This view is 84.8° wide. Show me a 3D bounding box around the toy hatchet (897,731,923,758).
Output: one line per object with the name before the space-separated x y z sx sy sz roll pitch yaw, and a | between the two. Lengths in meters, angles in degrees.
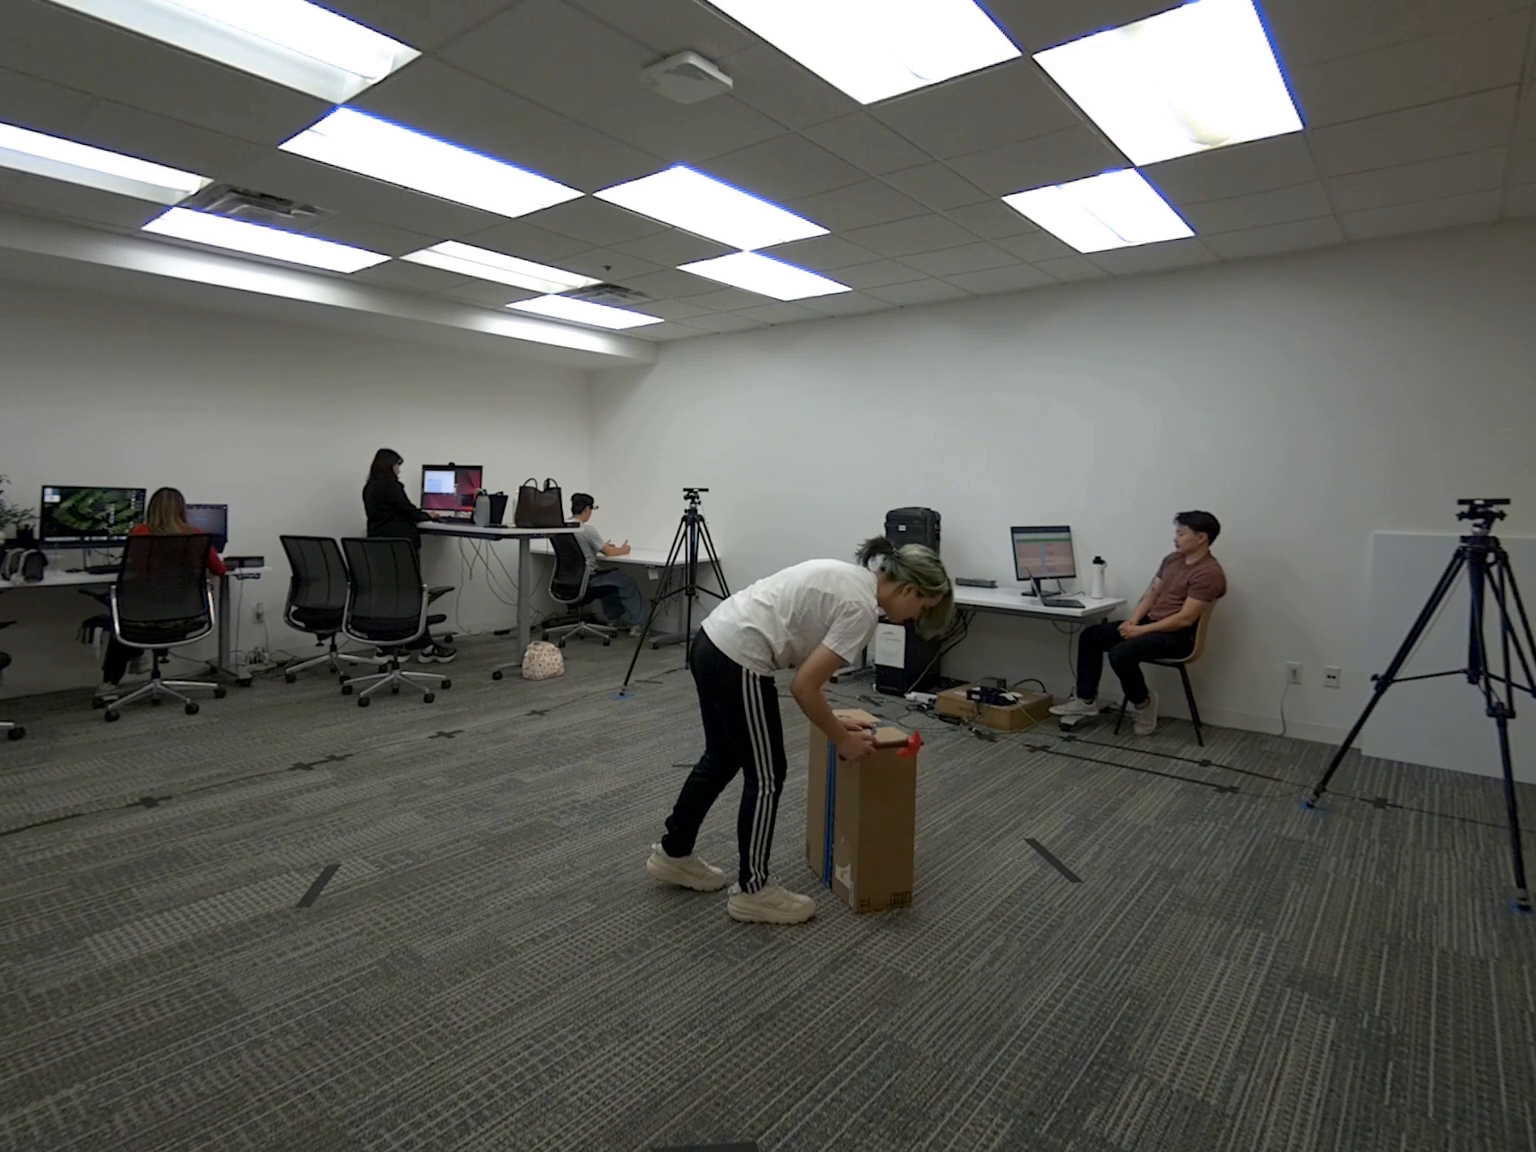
toy hatchet | 0.358 0.561 2.736 0.272 0.126 0.030 -14 43 11
